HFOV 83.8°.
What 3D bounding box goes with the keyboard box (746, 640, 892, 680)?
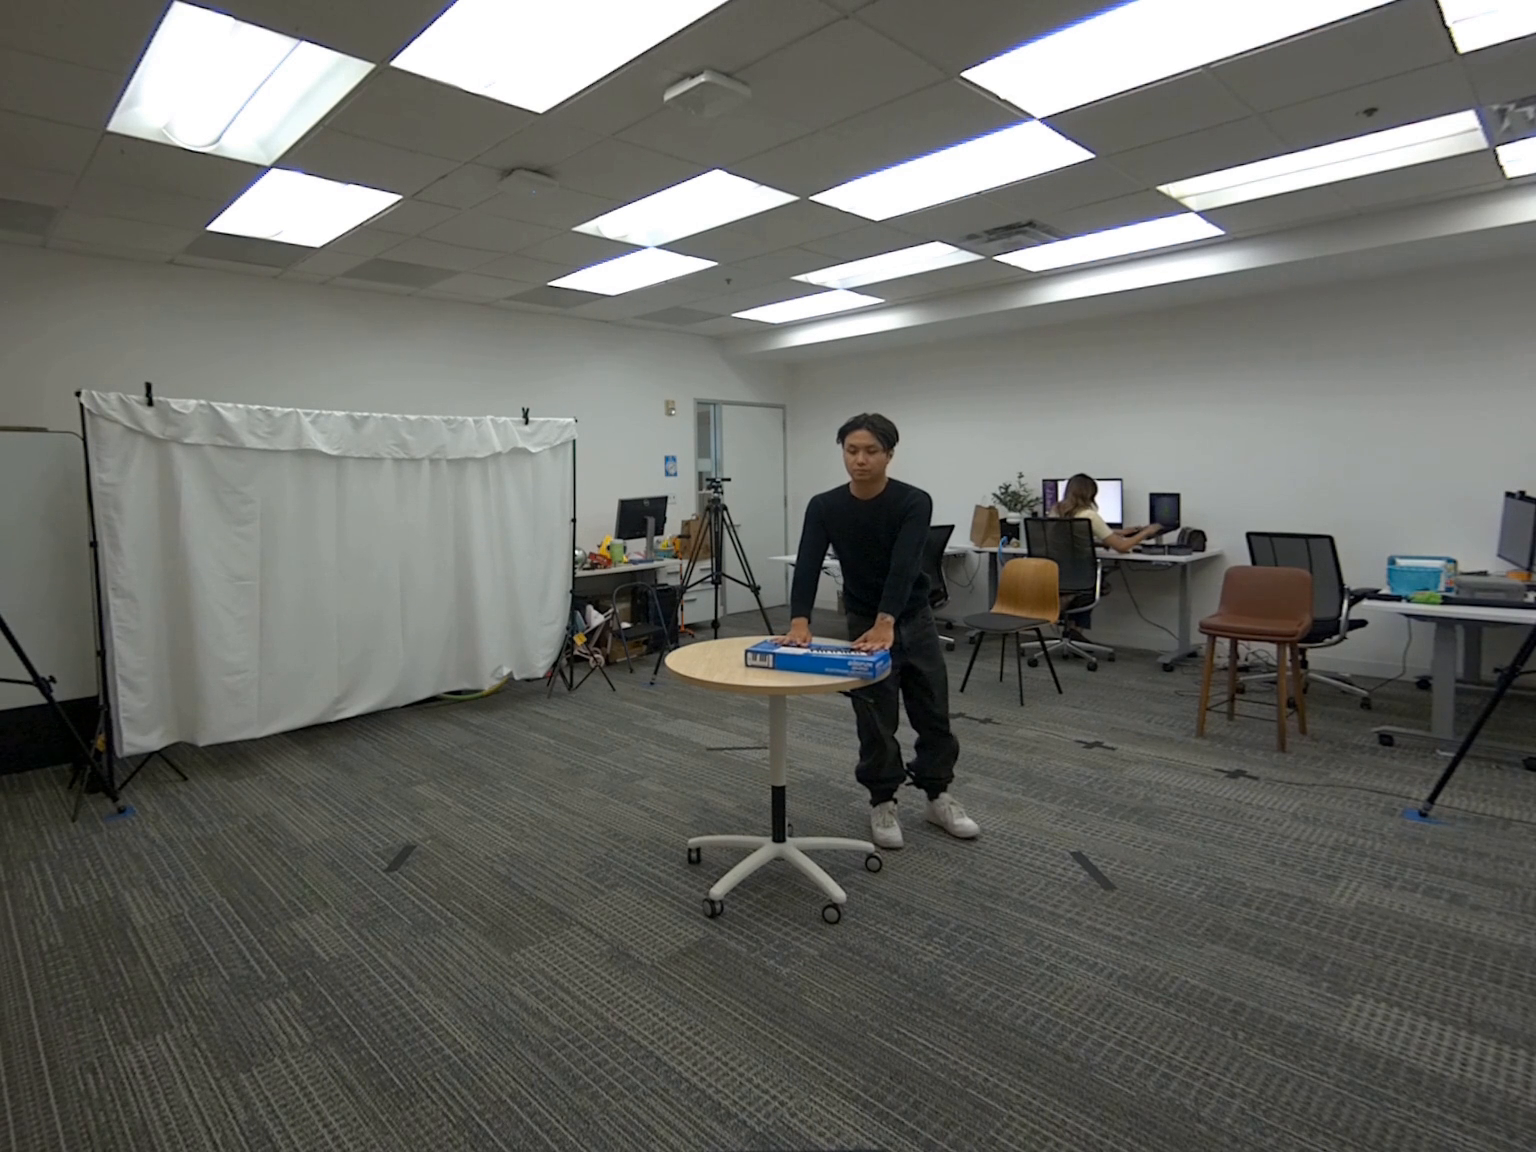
[{"bbox_3d":[0.165,0.266,2.775,0.447,0.059,0.173,2,7,25],"label":"keyboard box"}]
